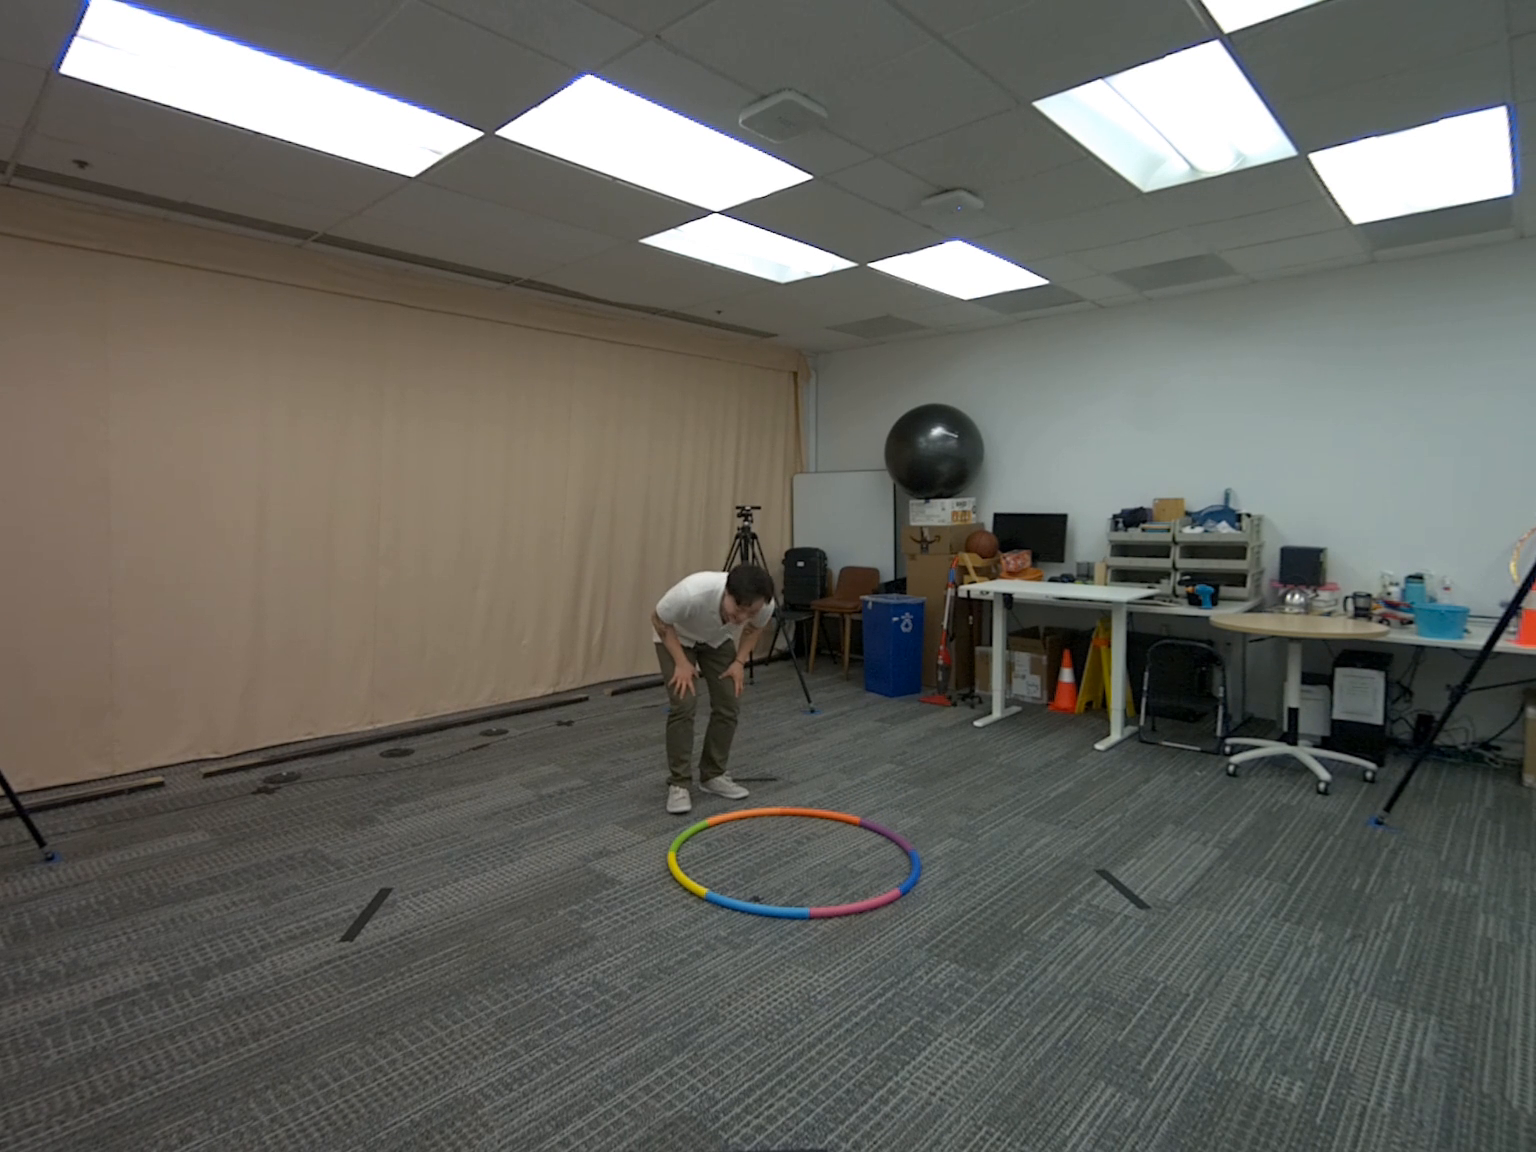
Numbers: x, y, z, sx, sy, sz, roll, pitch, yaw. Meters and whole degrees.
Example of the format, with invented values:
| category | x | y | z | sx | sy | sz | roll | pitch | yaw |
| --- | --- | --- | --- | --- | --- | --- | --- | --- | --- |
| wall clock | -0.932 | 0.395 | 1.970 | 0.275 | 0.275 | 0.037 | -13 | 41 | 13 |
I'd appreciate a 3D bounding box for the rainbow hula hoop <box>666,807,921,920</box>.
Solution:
| category | x | y | z | sx | sy | sz | roll | pitch | yaw |
| --- | --- | --- | --- | --- | --- | --- | --- | --- | --- |
| rainbow hula hoop | 0.096 | 1.086 | 3.313 | 0.978 | 0.035 | 0.982 | 0 | 5 | -2 |
